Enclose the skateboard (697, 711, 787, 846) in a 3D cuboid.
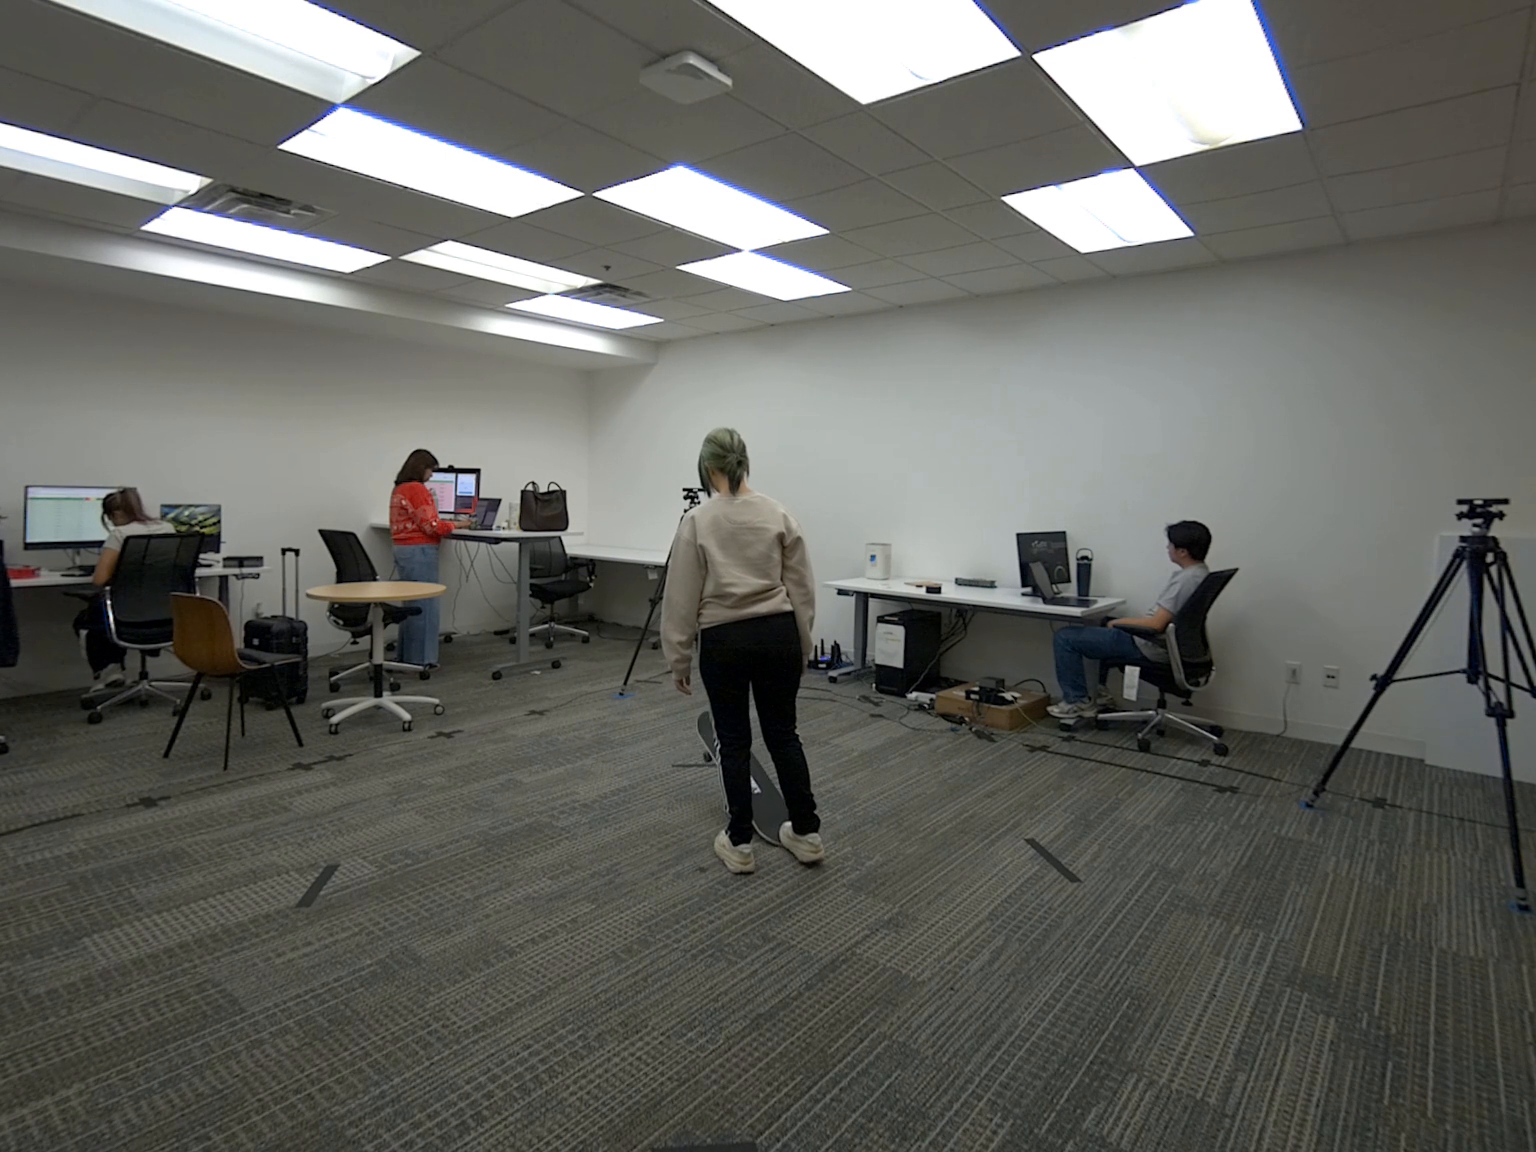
[{"bbox_3d":[-0.115,0.876,3.645,0.188,0.108,0.819,-3,33,-30],"label":"skateboard"}]
